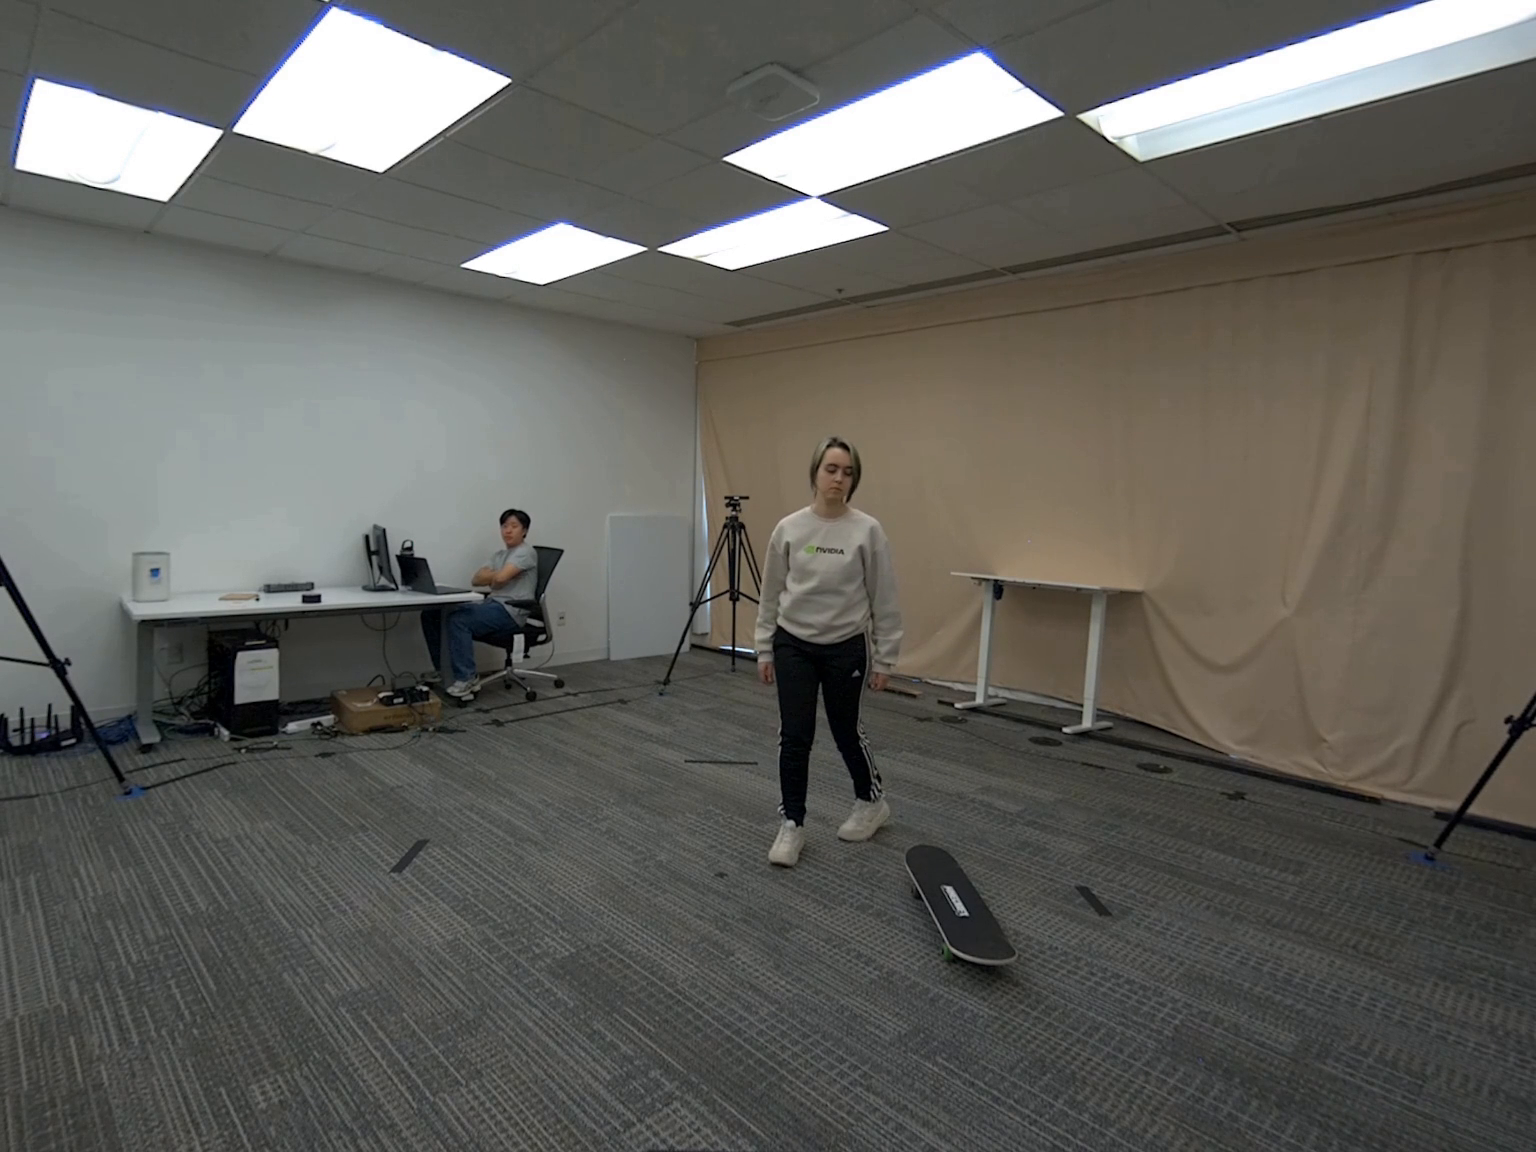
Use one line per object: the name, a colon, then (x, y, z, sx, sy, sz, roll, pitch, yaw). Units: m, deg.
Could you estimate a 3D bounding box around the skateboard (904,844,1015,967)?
skateboard: (0.603, 1.098, 2.766, 0.193, 0.110, 0.789, 2, 5, -4)
